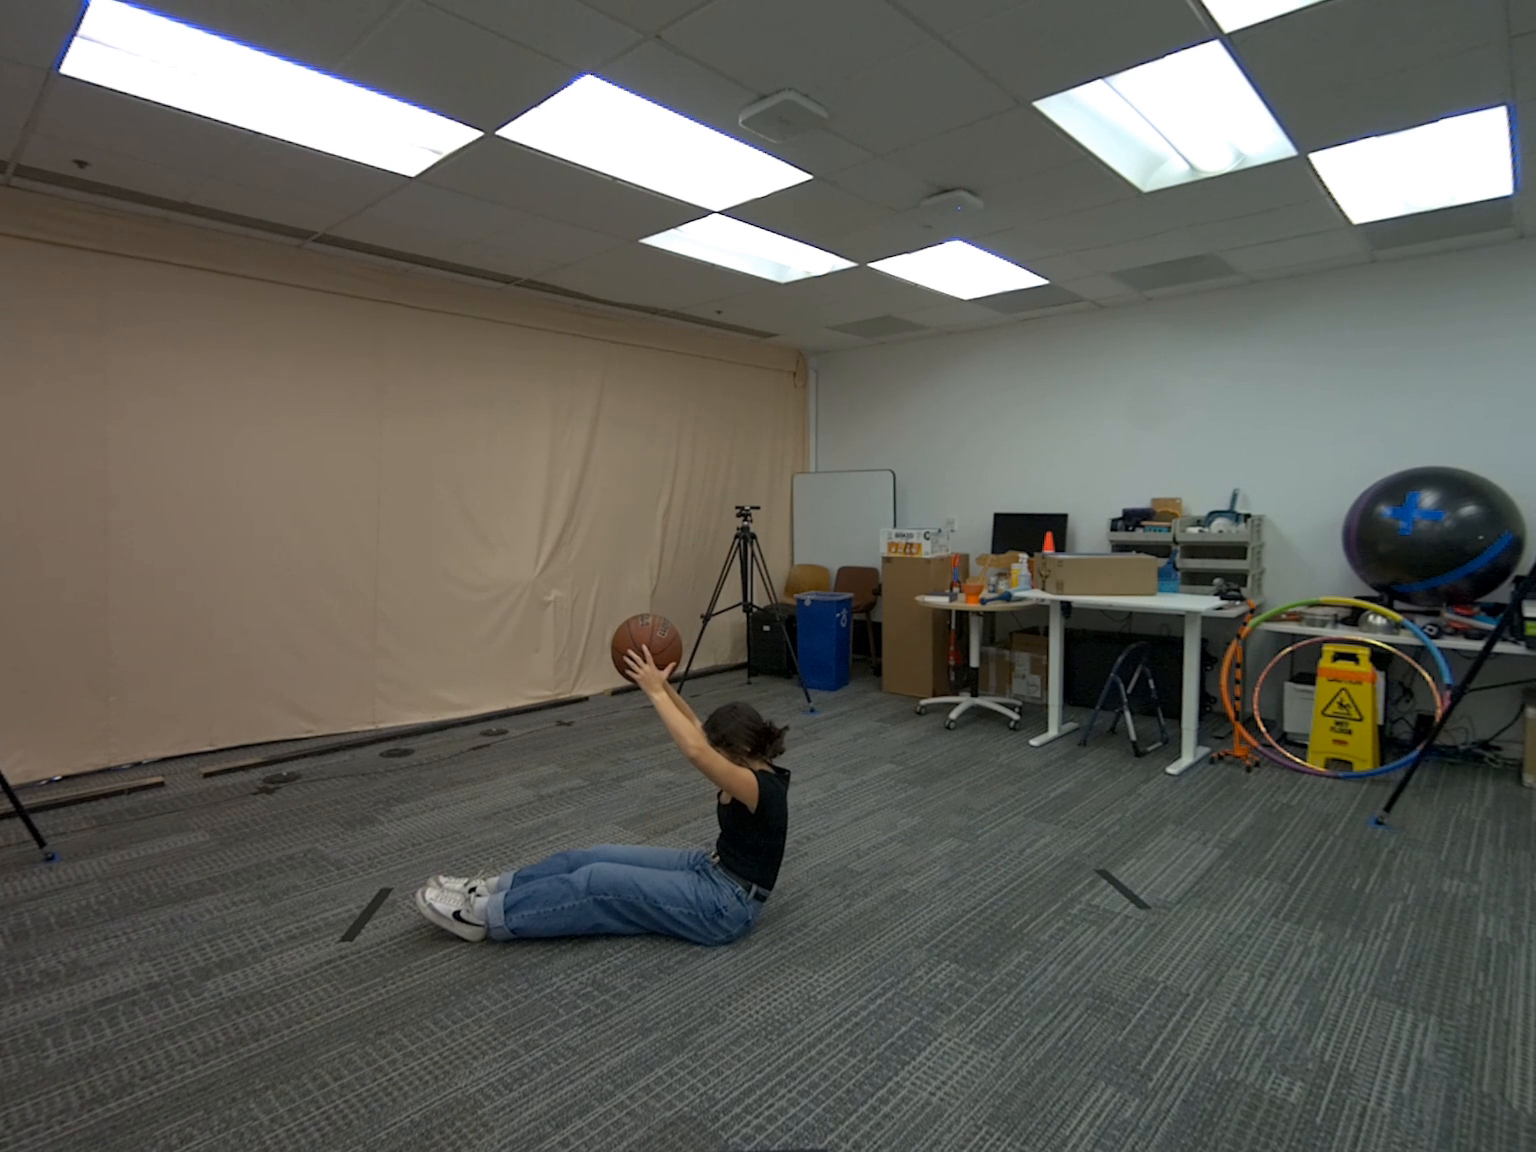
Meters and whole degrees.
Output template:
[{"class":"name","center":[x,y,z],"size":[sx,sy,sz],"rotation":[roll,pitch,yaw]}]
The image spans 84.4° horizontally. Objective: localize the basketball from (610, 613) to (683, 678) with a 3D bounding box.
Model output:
[{"class":"basketball","center":[-0.394,0.246,2.799],"size":[0.236,0.235,0.237],"rotation":[0,4,-2]}]
